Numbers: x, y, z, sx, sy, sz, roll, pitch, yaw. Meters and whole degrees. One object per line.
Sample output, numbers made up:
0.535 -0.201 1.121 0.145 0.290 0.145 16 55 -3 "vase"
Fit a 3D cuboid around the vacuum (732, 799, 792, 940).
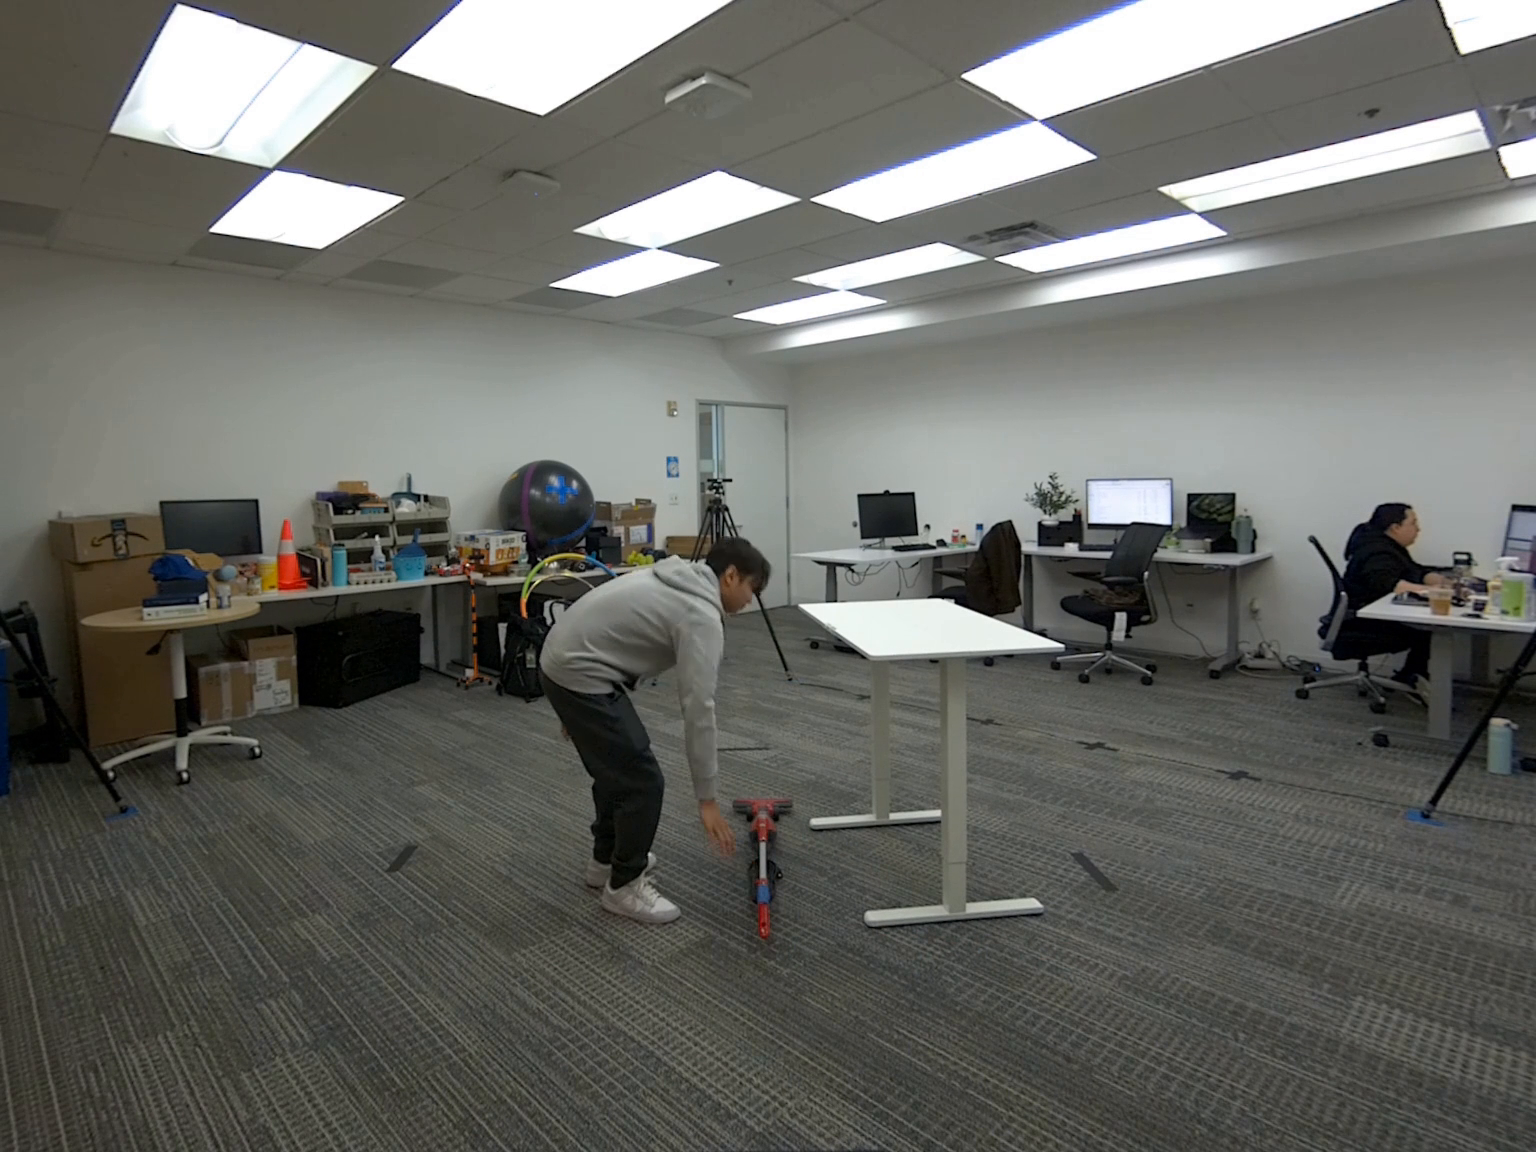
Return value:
-0.019 0.991 3.008 0.253 0.143 1.050 -6 4 0 "vacuum"
